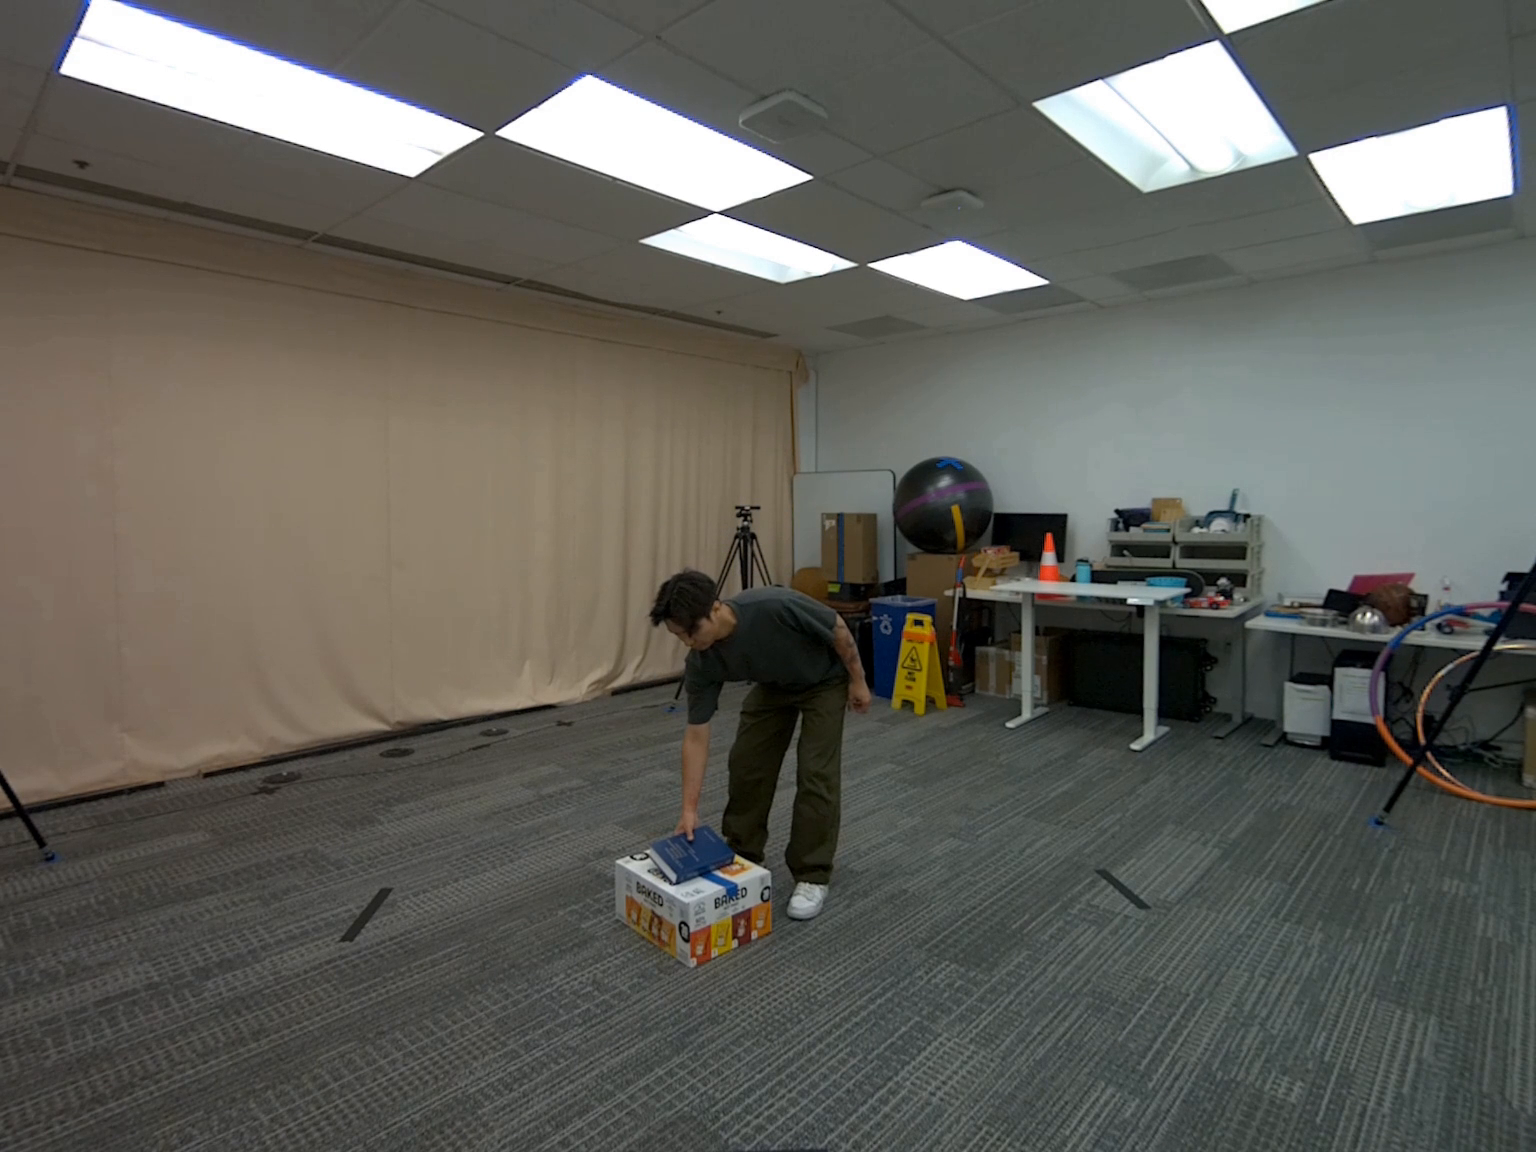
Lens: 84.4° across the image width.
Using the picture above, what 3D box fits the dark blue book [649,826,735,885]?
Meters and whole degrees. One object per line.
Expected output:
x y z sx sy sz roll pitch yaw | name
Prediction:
-0.247 0.919 2.778 0.238 0.045 0.169 -2 22 -37 | dark blue book
